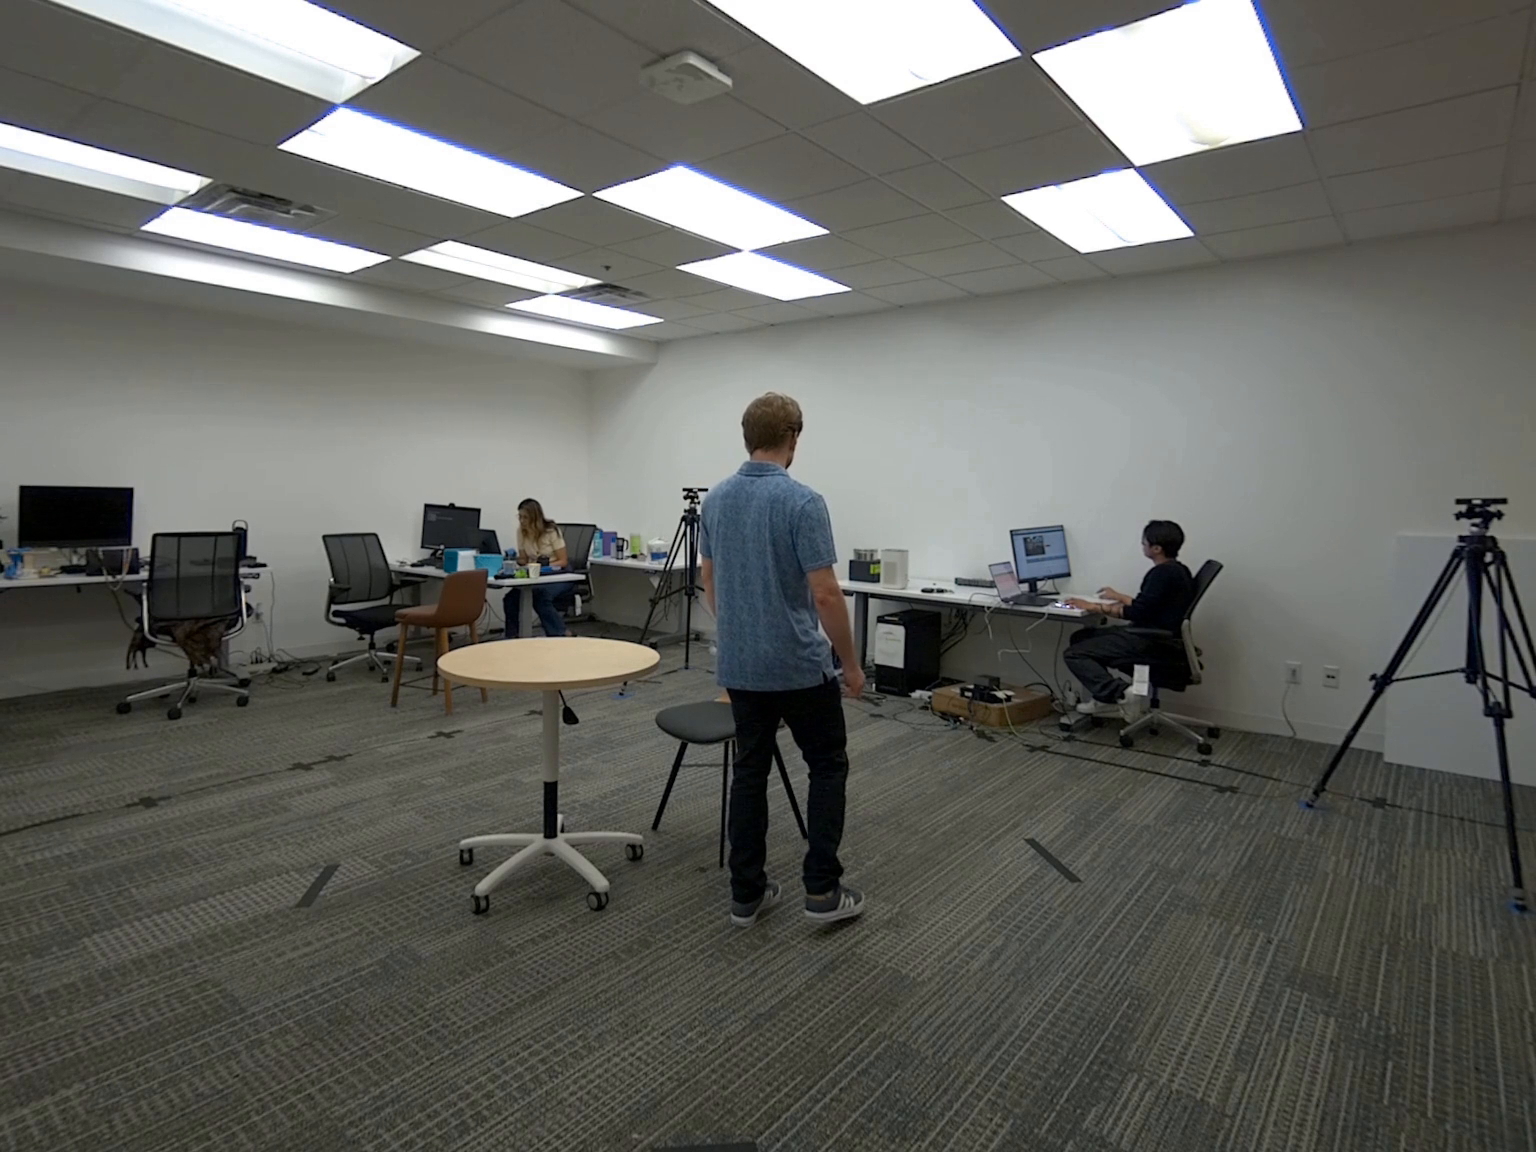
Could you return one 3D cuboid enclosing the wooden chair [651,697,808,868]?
[{"bbox_3d":[-0.163,0.614,3.401,0.506,0.877,0.494,4,0,-42],"label":"wooden chair"}]
